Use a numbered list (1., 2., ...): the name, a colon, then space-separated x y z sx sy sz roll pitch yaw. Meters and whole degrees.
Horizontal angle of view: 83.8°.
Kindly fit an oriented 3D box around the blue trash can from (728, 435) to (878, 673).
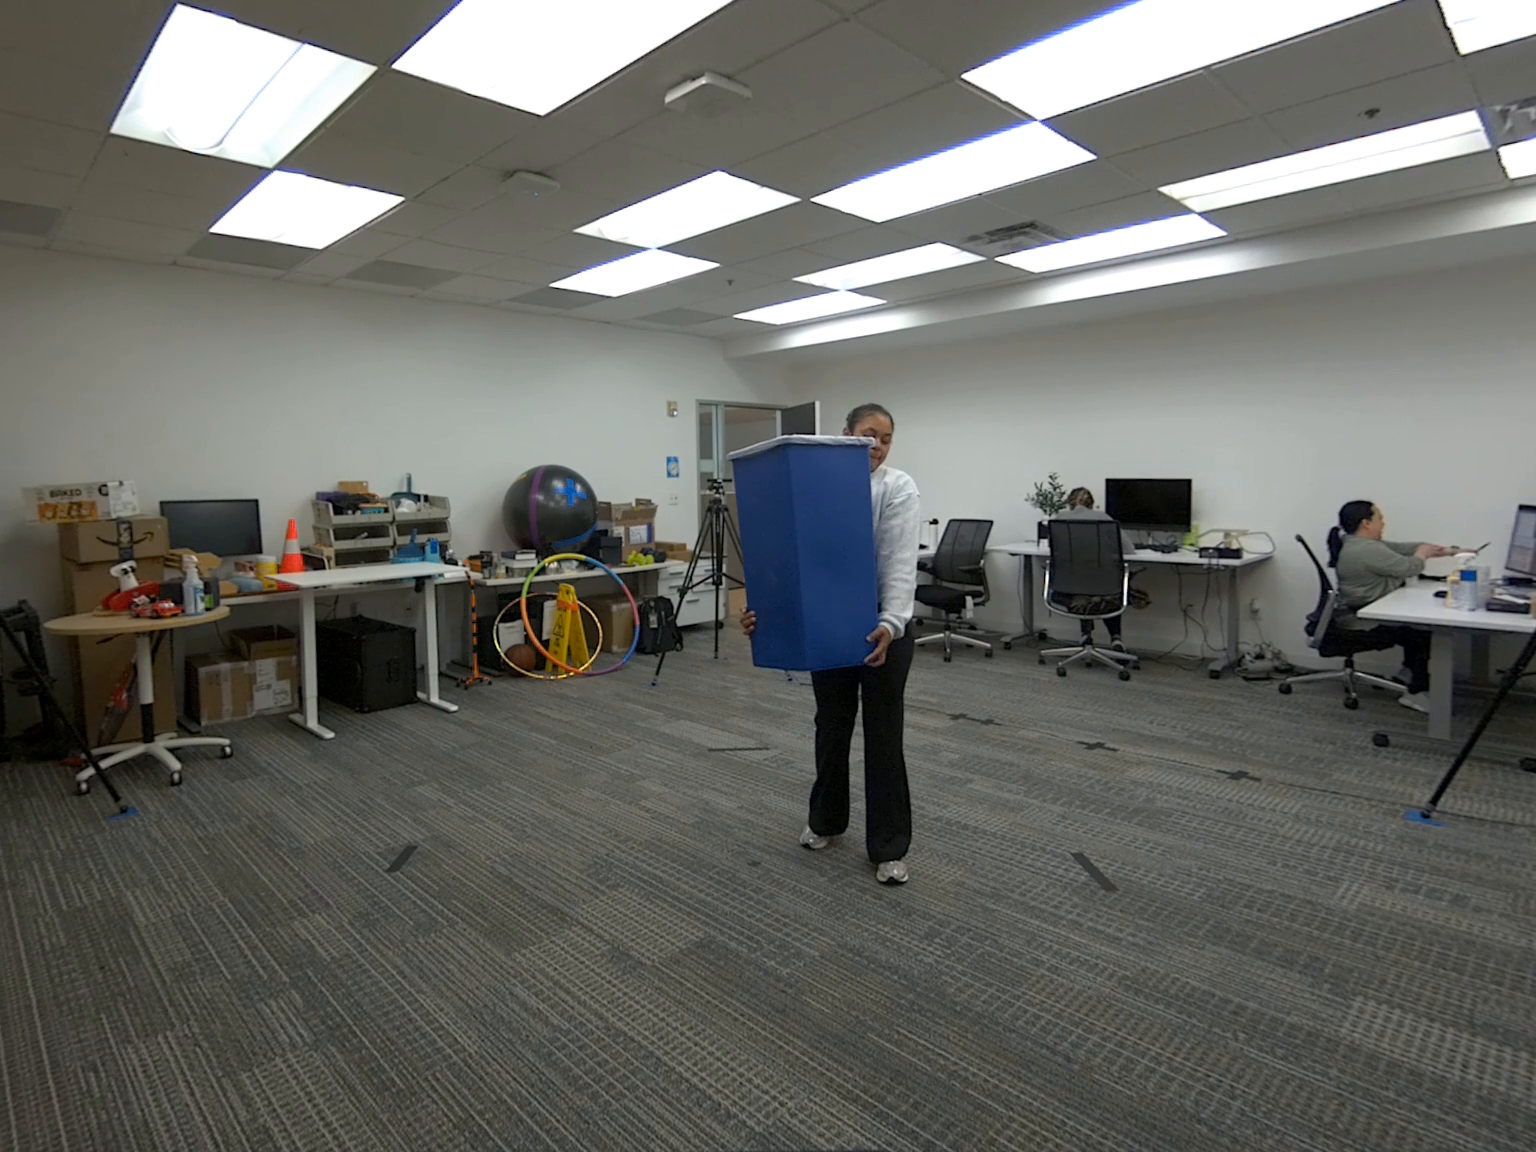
1. blue trash can: 0.124 -0.071 2.798 0.368 0.715 0.383 -2 -3 -34
